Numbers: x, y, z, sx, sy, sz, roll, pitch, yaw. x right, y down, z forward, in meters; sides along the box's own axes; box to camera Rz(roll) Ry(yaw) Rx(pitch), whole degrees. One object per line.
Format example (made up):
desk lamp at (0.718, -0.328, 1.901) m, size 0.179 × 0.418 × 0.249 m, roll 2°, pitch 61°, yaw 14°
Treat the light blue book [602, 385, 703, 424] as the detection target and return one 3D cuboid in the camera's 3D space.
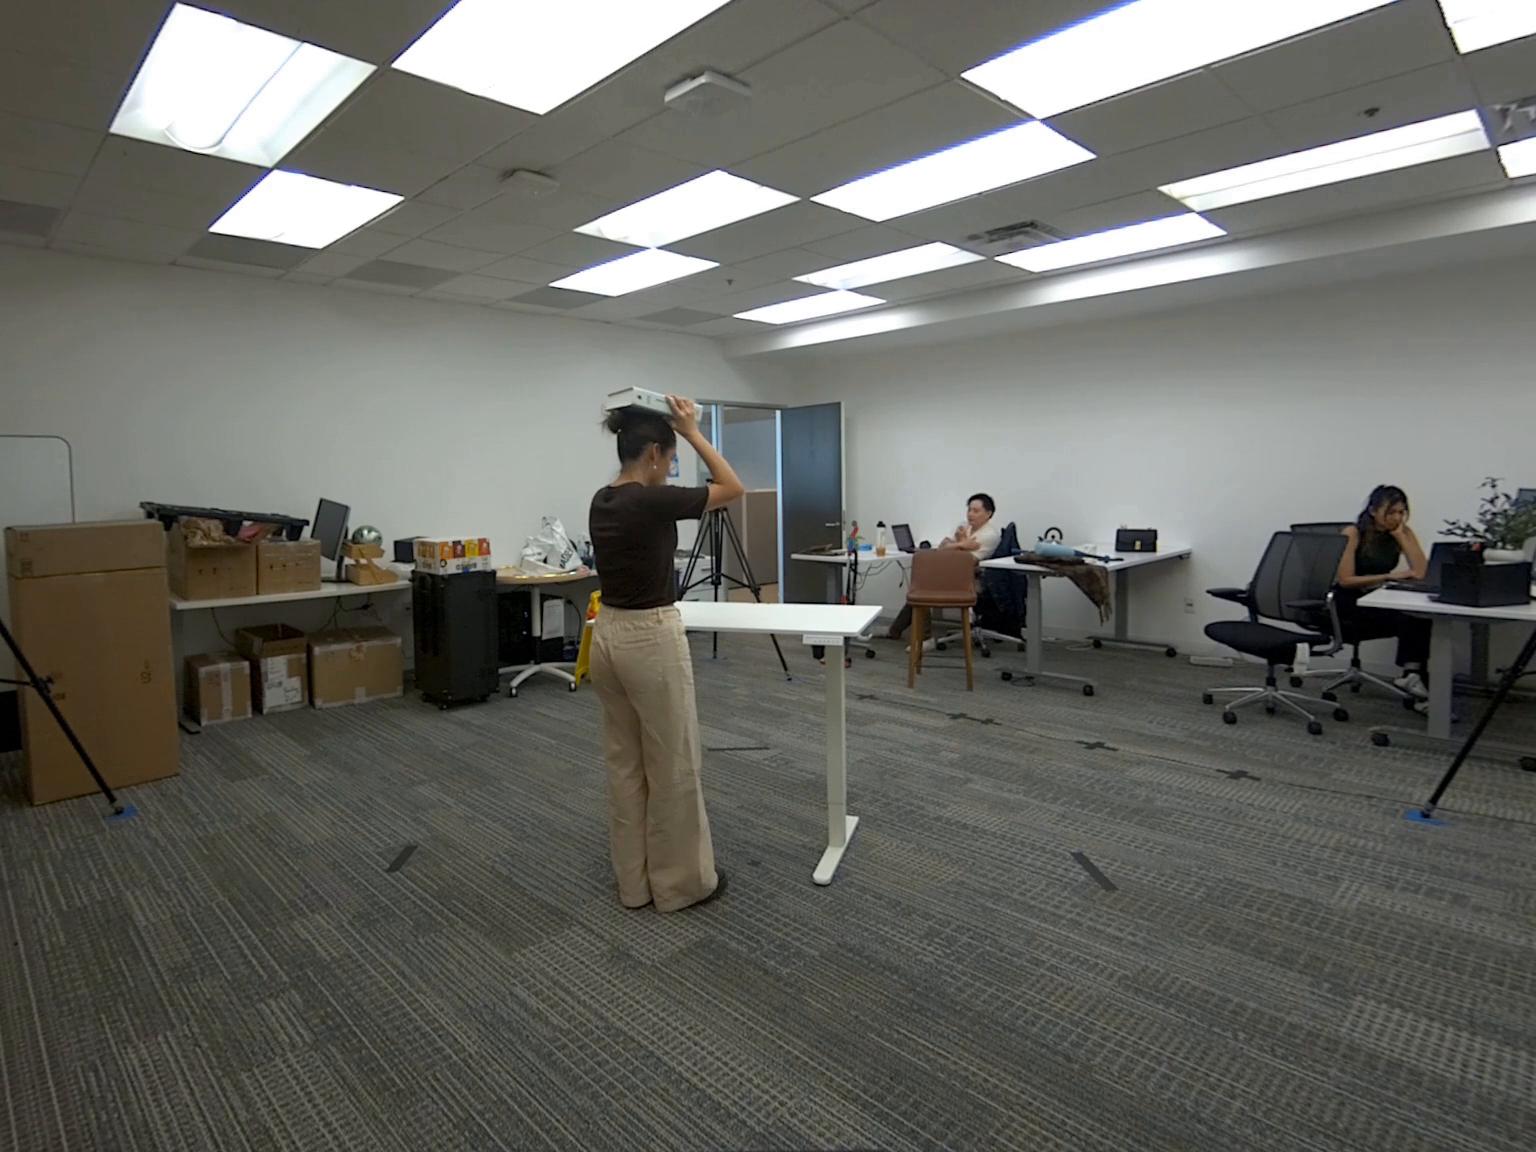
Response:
light blue book at (-0.381, -0.551, 2.805) m, size 0.253 × 0.059 × 0.196 m, roll 9°, pitch -4°, yaw -33°
